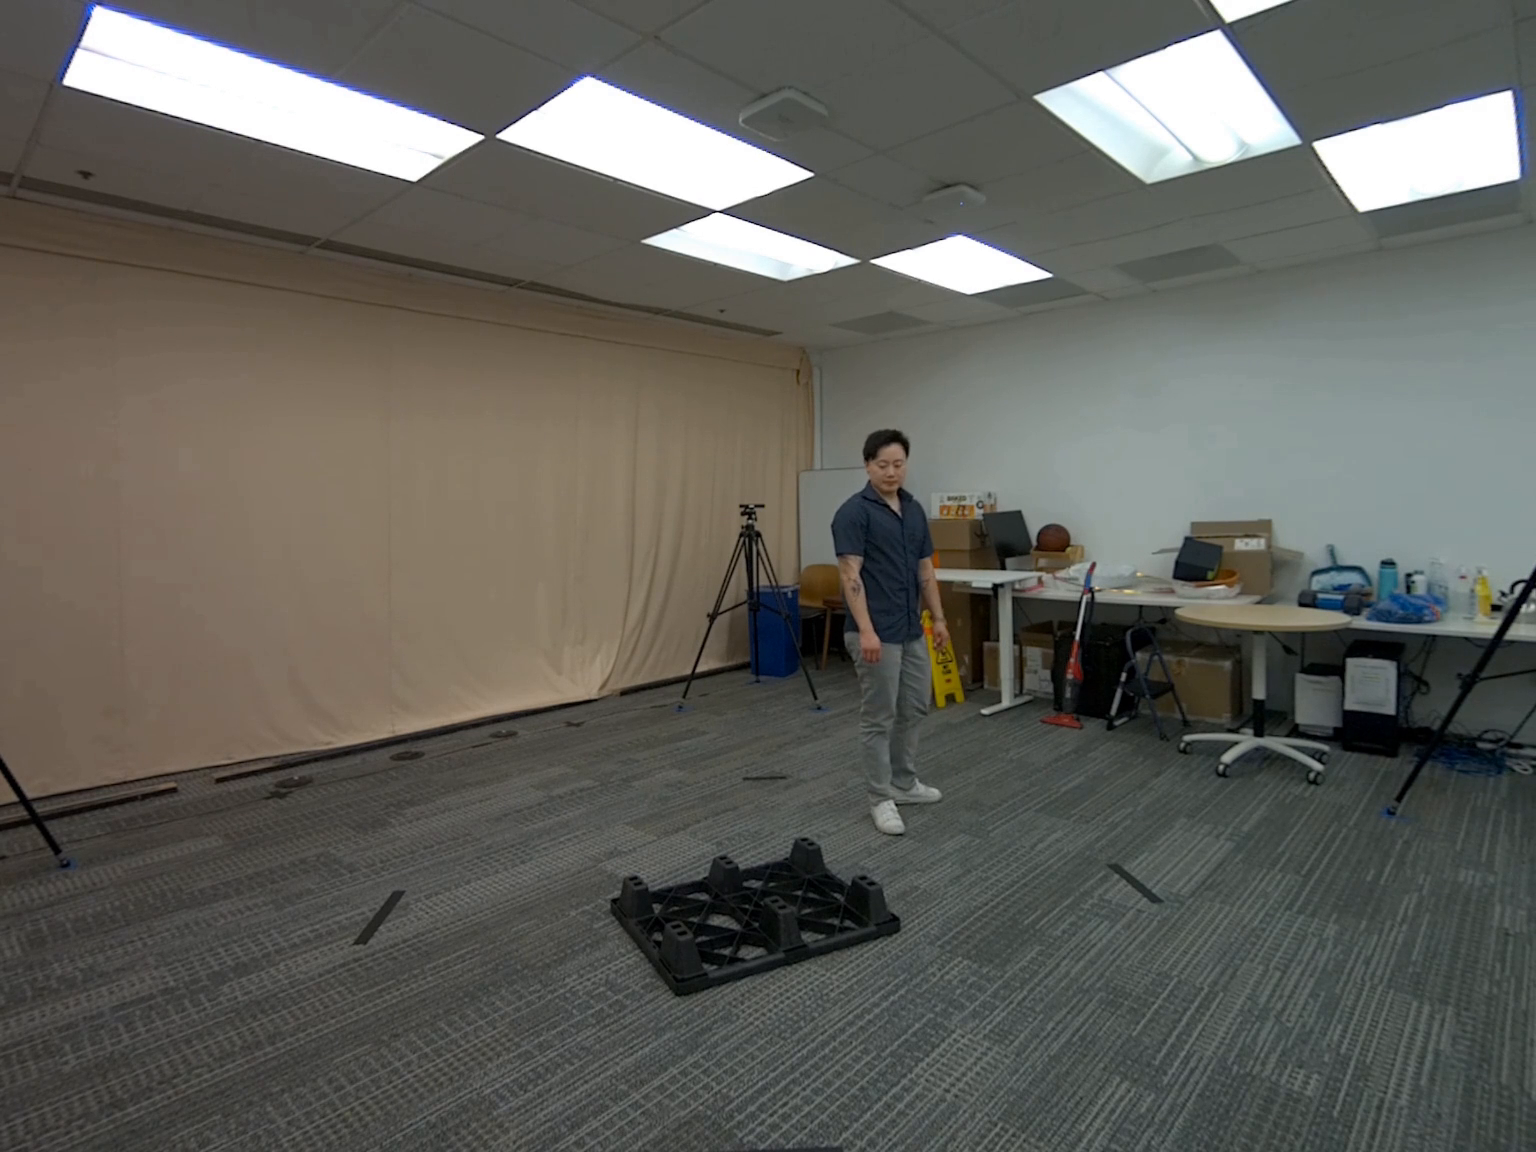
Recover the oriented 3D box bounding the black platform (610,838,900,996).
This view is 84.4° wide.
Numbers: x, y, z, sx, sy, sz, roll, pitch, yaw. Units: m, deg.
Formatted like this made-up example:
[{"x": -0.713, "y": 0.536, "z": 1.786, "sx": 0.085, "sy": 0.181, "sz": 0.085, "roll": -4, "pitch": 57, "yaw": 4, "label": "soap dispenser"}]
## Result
[{"x": -0.053, "y": 1.086, "z": 2.823, "sx": 0.785, "sy": 0.143, "sz": 0.622, "roll": -3, "pitch": 6, "yaw": -28, "label": "black platform"}]
